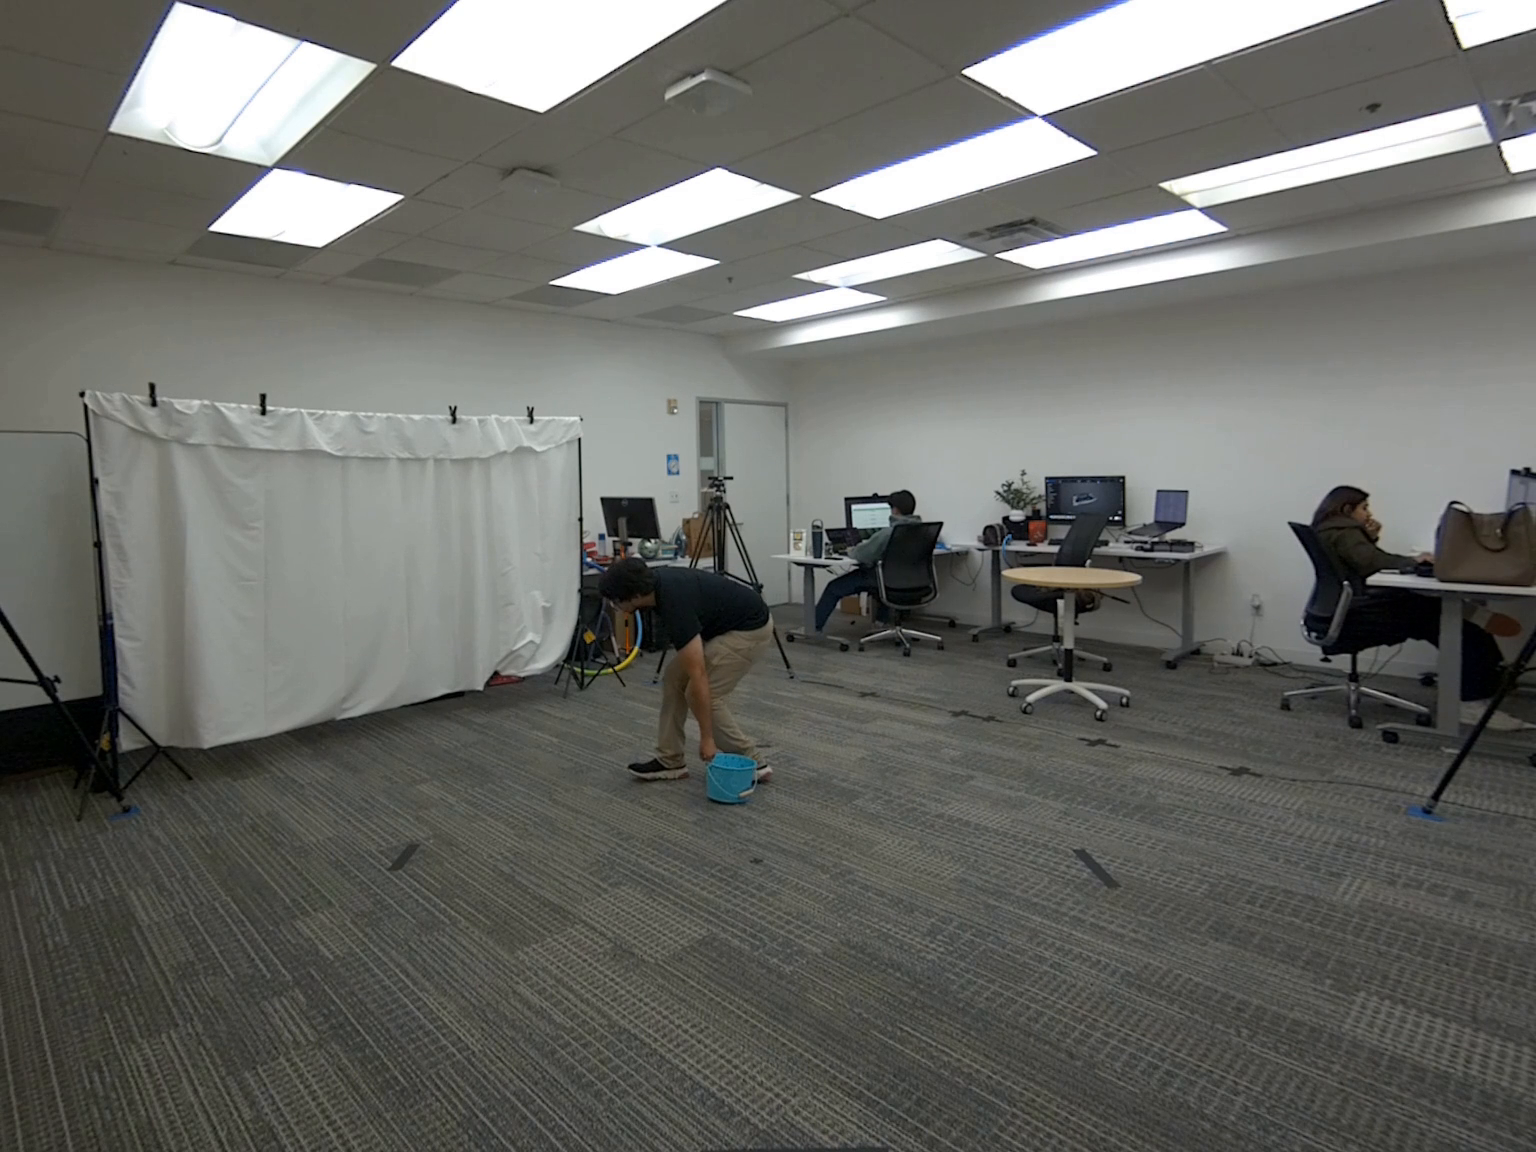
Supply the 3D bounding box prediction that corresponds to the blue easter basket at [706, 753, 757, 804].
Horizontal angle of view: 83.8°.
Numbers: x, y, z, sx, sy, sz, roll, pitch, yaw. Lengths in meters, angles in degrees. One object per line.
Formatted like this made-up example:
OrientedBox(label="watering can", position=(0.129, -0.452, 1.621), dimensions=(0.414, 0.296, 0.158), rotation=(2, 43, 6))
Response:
OrientedBox(label="blue easter basket", position=(-0.175, 0.888, 3.727), dimensions=(0.243, 0.156, 0.244), rotation=(5, 3, -2))
